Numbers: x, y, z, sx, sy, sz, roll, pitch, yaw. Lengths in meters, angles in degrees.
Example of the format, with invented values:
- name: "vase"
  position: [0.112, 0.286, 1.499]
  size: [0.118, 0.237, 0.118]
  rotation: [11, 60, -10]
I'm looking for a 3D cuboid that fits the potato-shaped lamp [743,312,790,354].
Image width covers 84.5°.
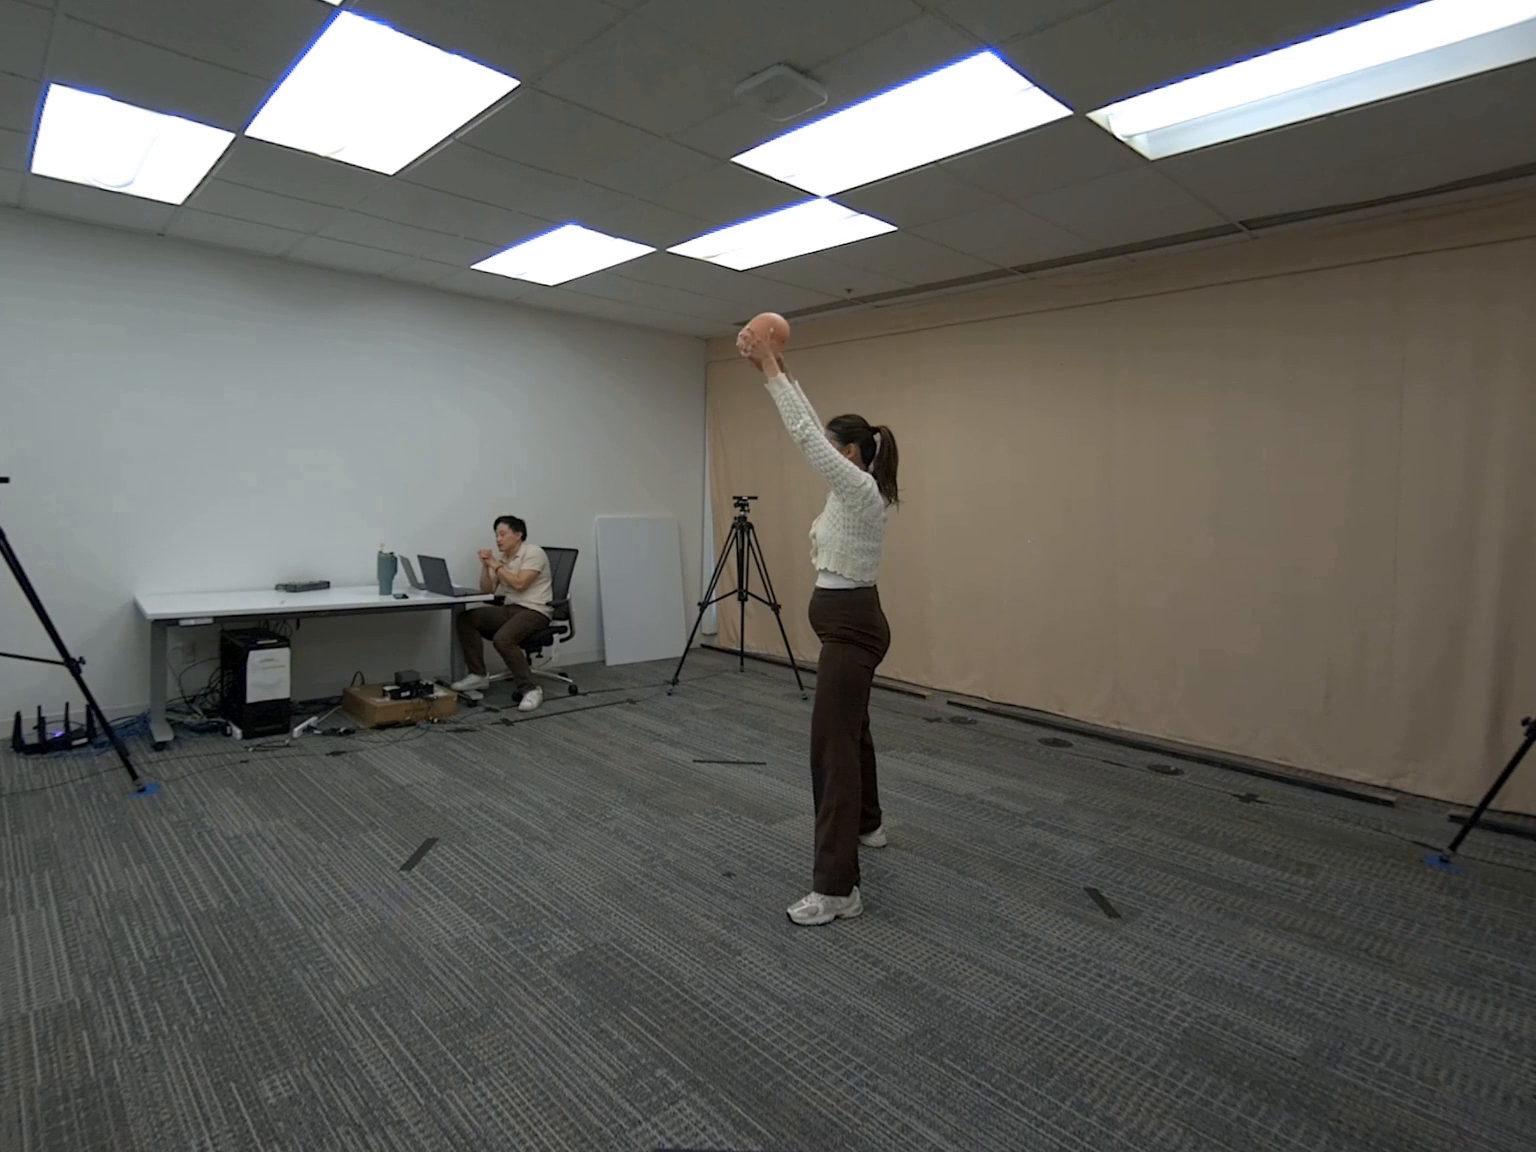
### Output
- name: "potato-shaped lamp"
  position: [-0.020, -0.873, 3.133]
  size: [0.198, 0.173, 0.163]
  rotation: [-43, -6, 5]
